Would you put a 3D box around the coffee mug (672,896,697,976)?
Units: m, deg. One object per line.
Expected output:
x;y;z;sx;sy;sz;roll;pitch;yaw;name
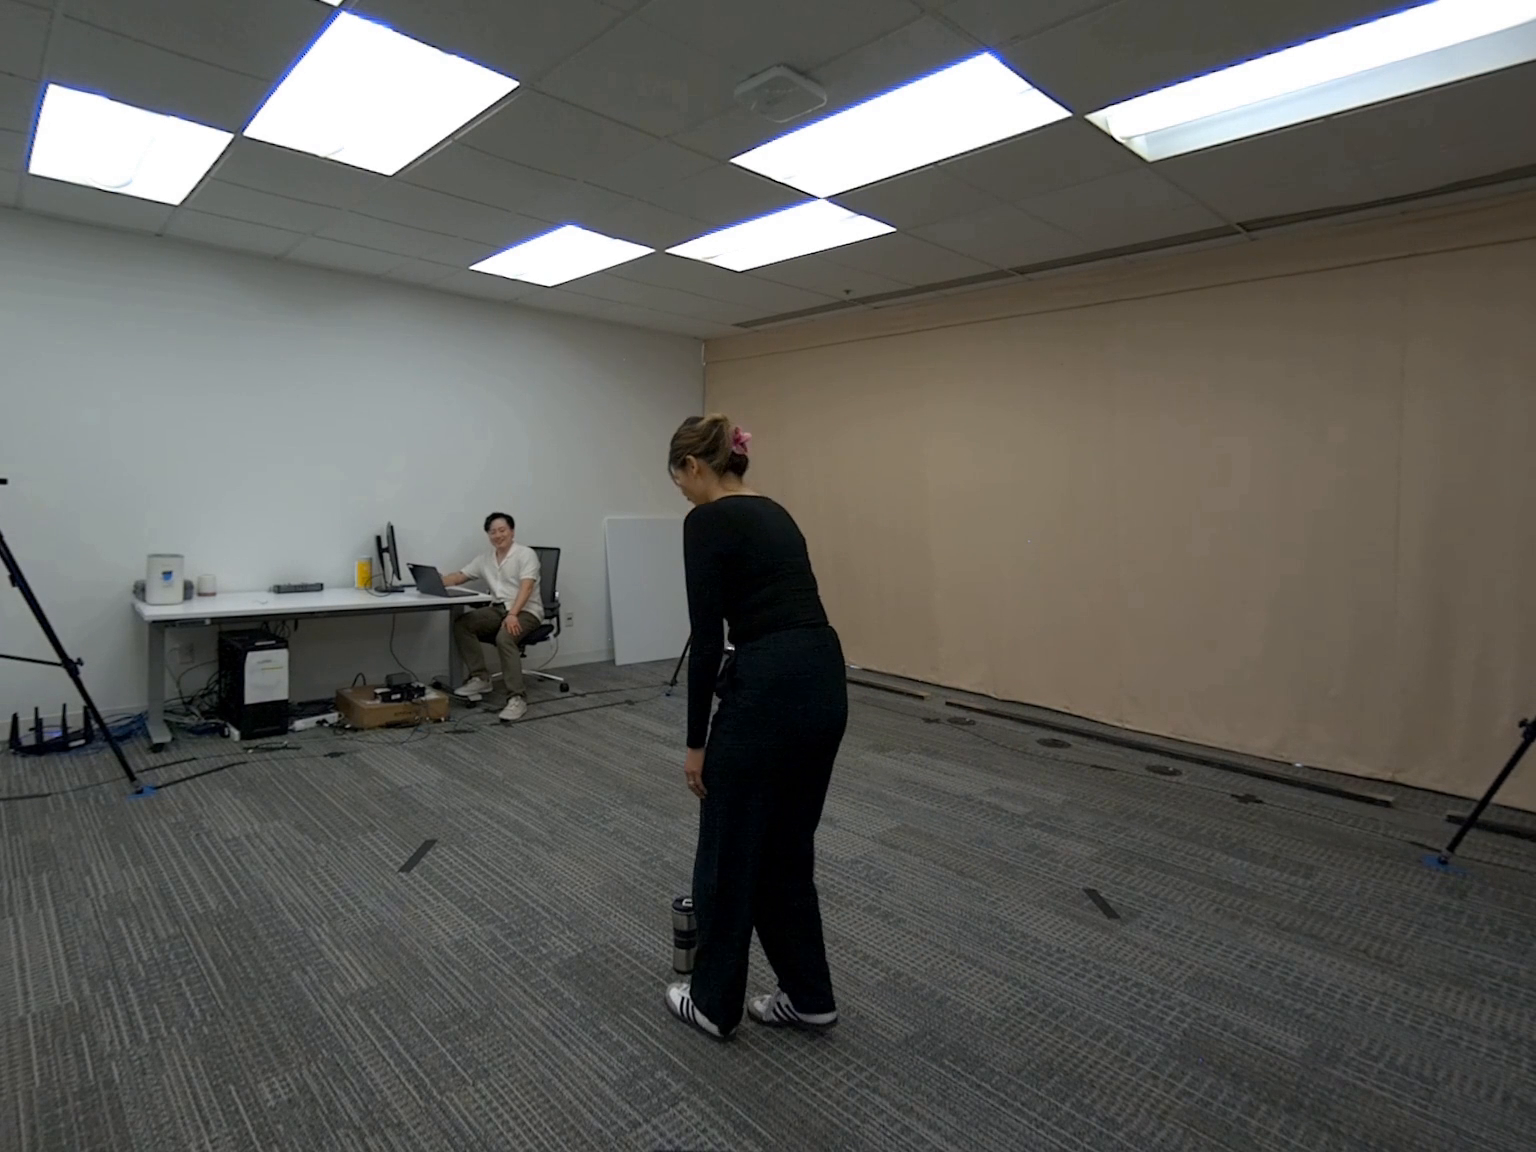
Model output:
-0.227;1.069;2.473;0.121;0.203;0.089;-1;2;-10;coffee mug
